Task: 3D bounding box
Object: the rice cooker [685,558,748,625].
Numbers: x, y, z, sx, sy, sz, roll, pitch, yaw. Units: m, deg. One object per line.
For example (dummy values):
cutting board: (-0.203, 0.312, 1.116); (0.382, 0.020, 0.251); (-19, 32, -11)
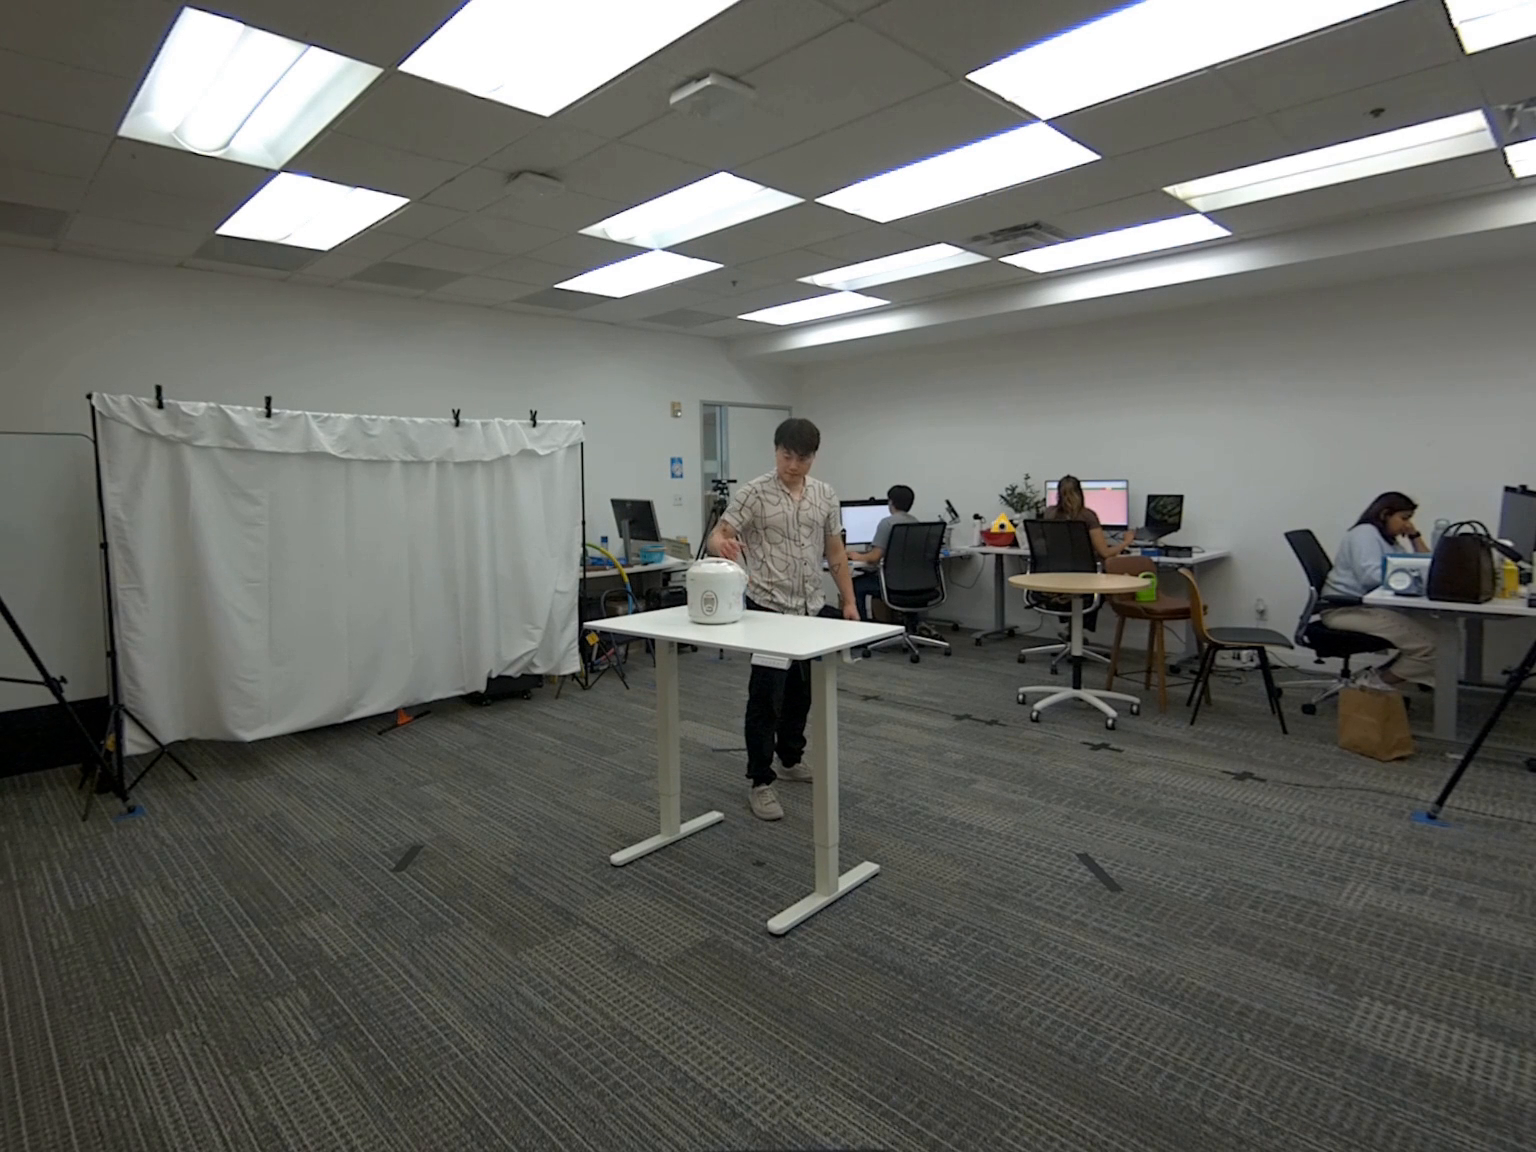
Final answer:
rice cooker: (-0.187, 0.050, 3.121); (0.223, 0.232, 0.216); (-1, 4, 10)
